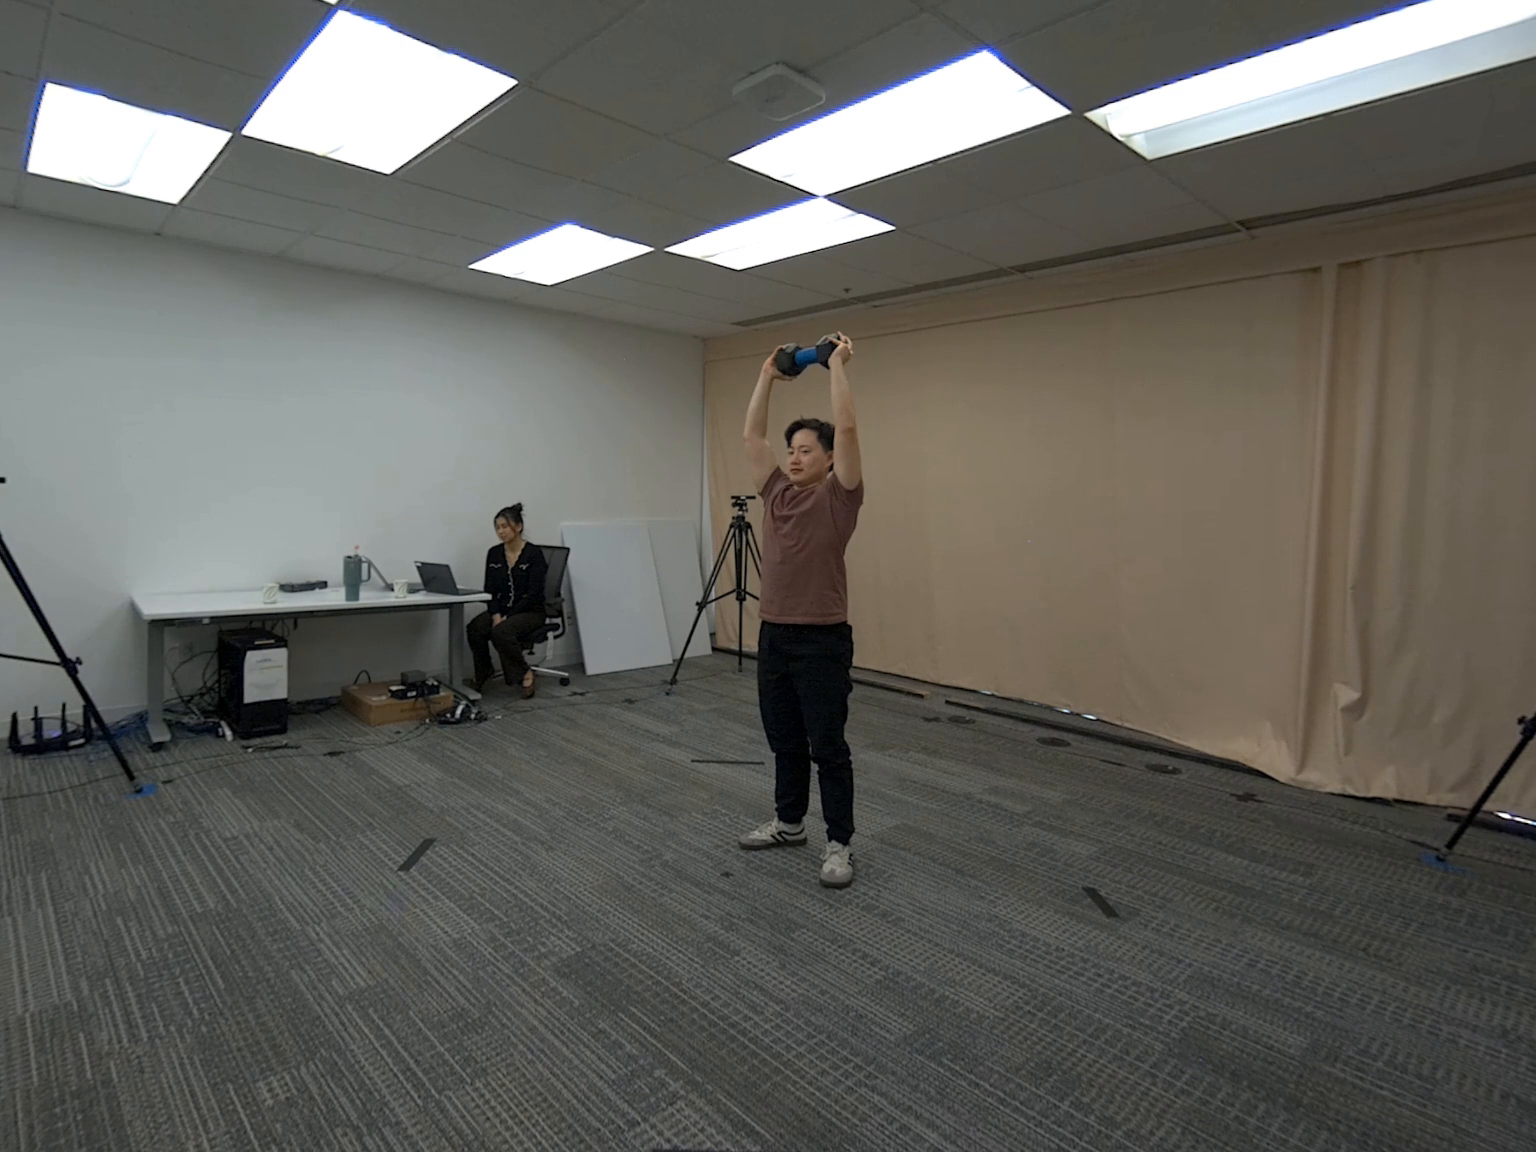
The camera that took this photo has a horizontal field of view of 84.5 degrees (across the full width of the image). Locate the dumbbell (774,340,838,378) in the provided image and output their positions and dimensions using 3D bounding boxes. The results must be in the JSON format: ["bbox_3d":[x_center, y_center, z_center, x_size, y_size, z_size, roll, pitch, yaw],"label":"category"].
[{"bbox_3d":[0.156,-0.824,3.165,0.301,0.106,0.123,3,42,48],"label":"dumbbell"}]
